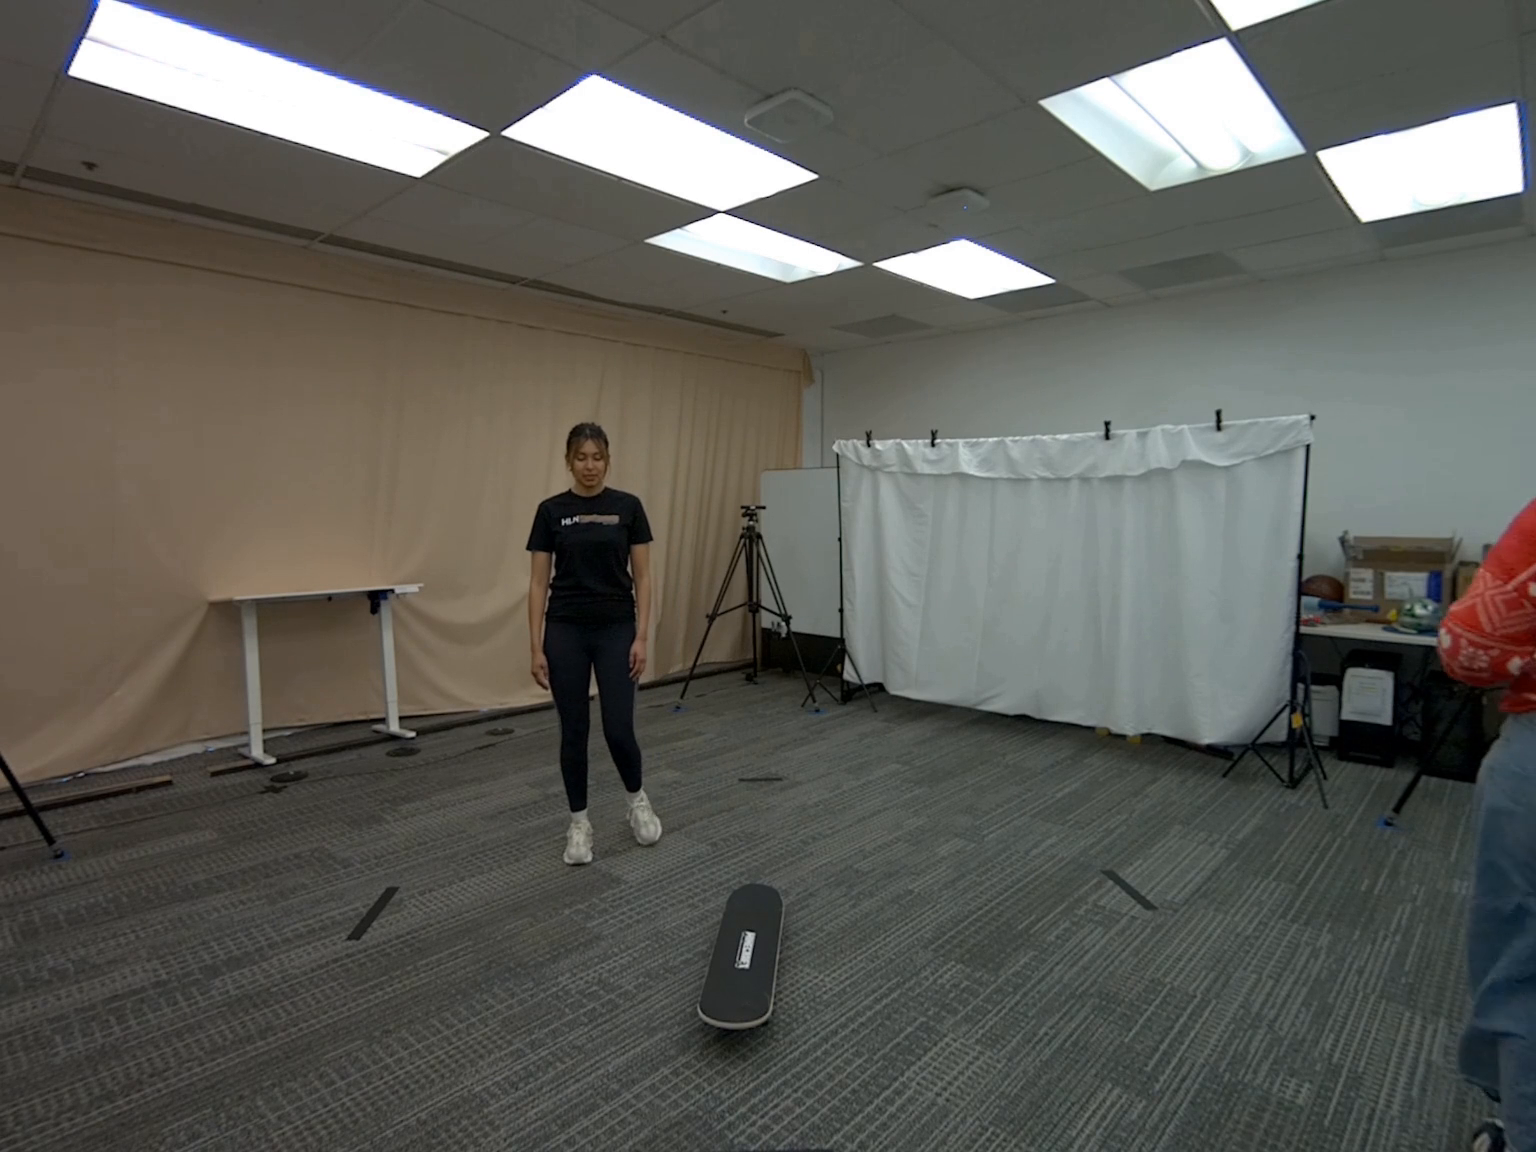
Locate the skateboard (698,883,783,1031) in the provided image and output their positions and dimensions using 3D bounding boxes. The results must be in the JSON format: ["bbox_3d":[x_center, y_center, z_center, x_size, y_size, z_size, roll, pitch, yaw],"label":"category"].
[{"bbox_3d":[-0.060,1.130,2.472,0.195,0.110,0.782,0,5,4],"label":"skateboard"}]
